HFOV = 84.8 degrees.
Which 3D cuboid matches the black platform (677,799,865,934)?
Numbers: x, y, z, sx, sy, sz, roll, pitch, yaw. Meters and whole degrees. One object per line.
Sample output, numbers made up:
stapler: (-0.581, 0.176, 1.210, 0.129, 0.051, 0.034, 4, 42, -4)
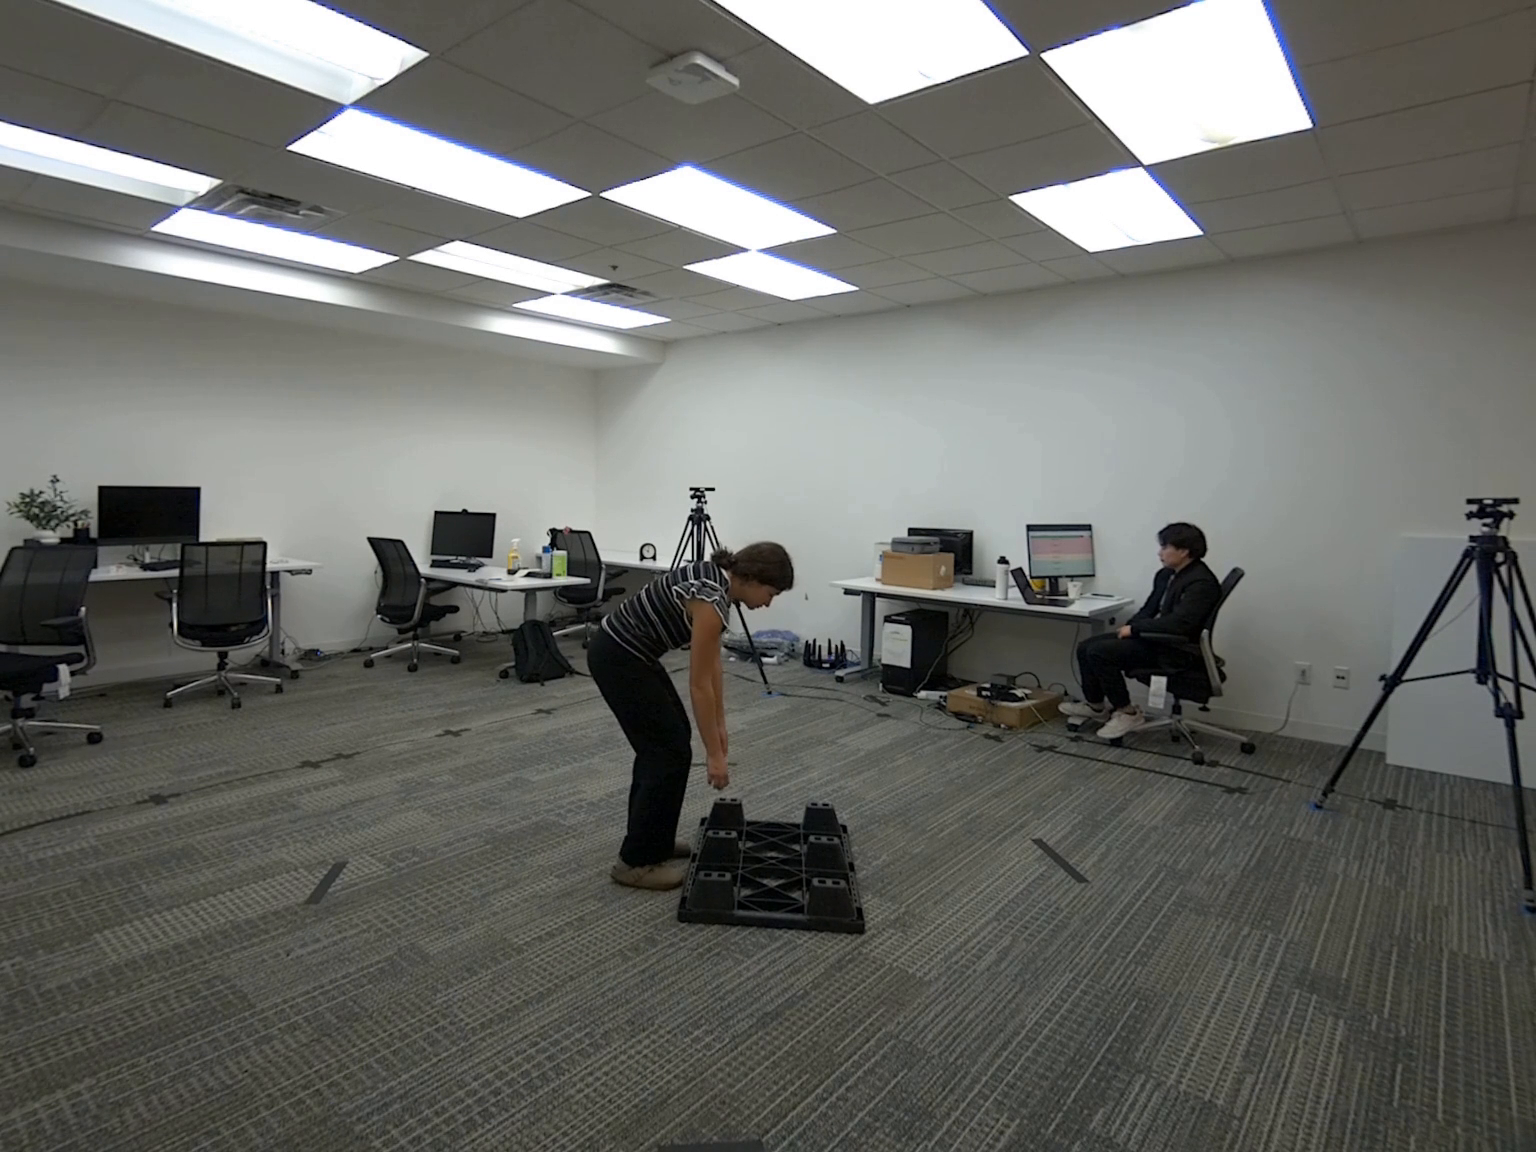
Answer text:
black platform: (0.011, 1.006, 3.078, 0.607, 0.143, 0.806, 1, 6, 2)
